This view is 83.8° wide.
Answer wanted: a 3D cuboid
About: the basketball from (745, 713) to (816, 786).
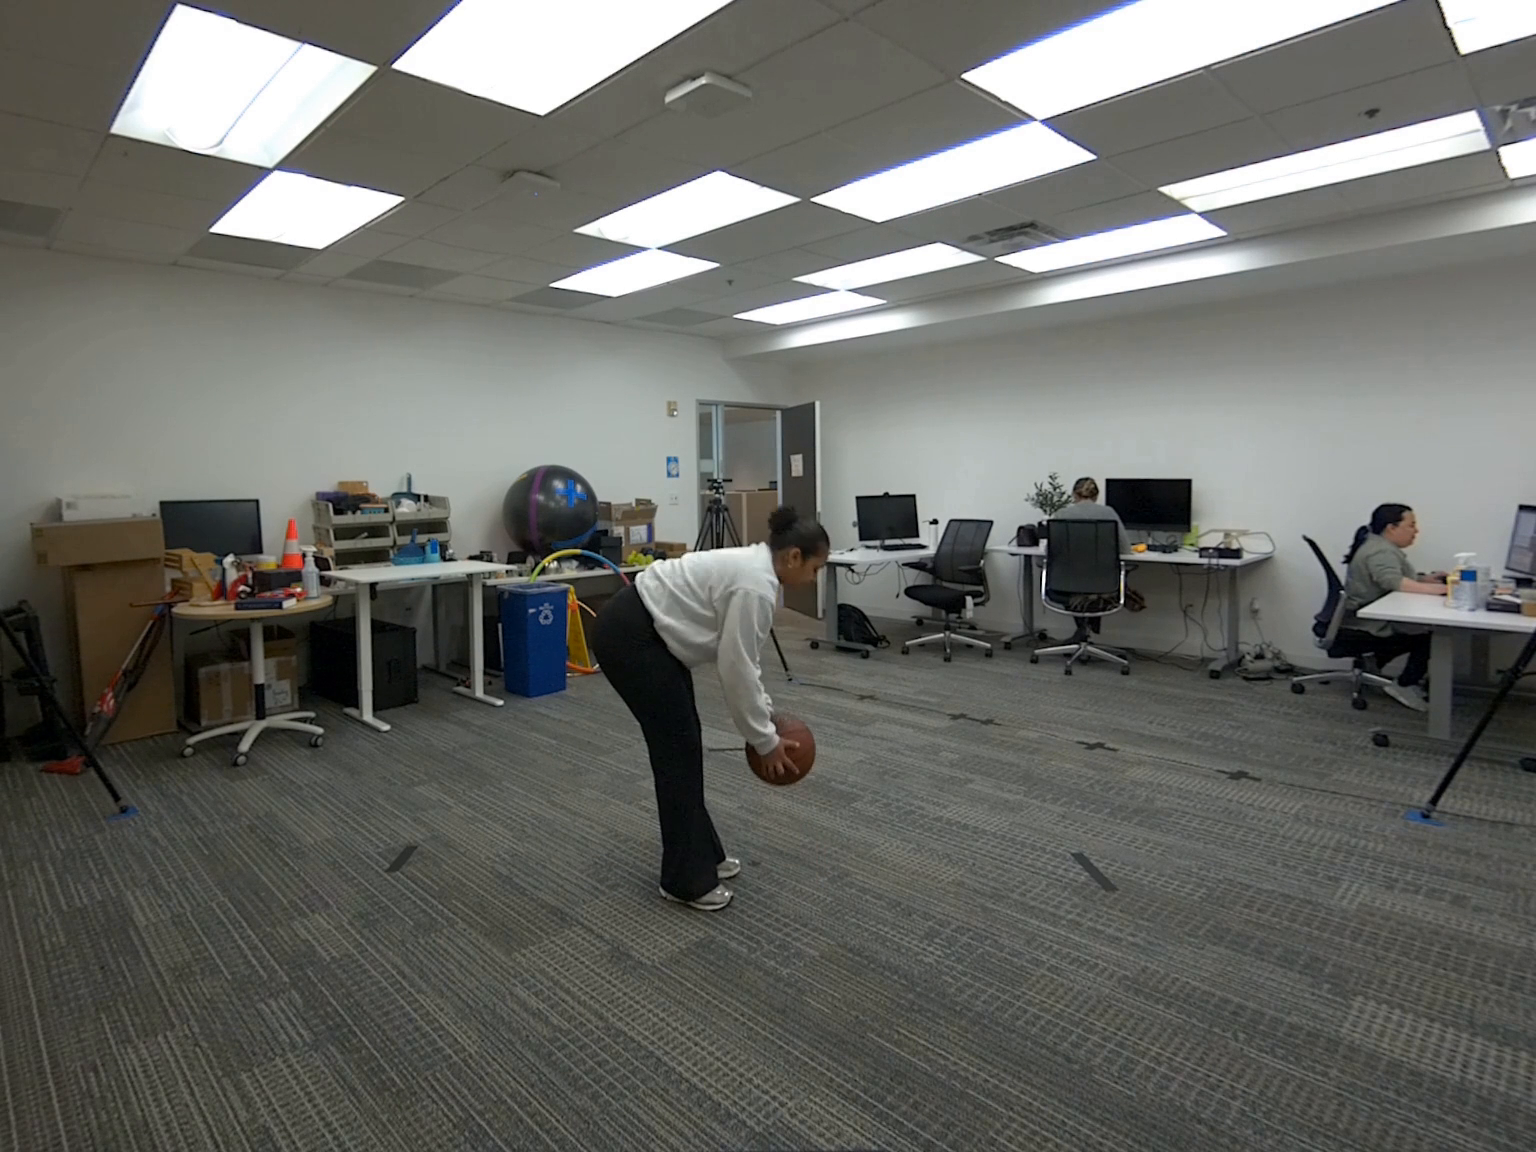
[{"bbox_3d":[0.044,0.574,2.885,0.236,0.235,0.237,-1,5,-2],"label":"basketball"}]
